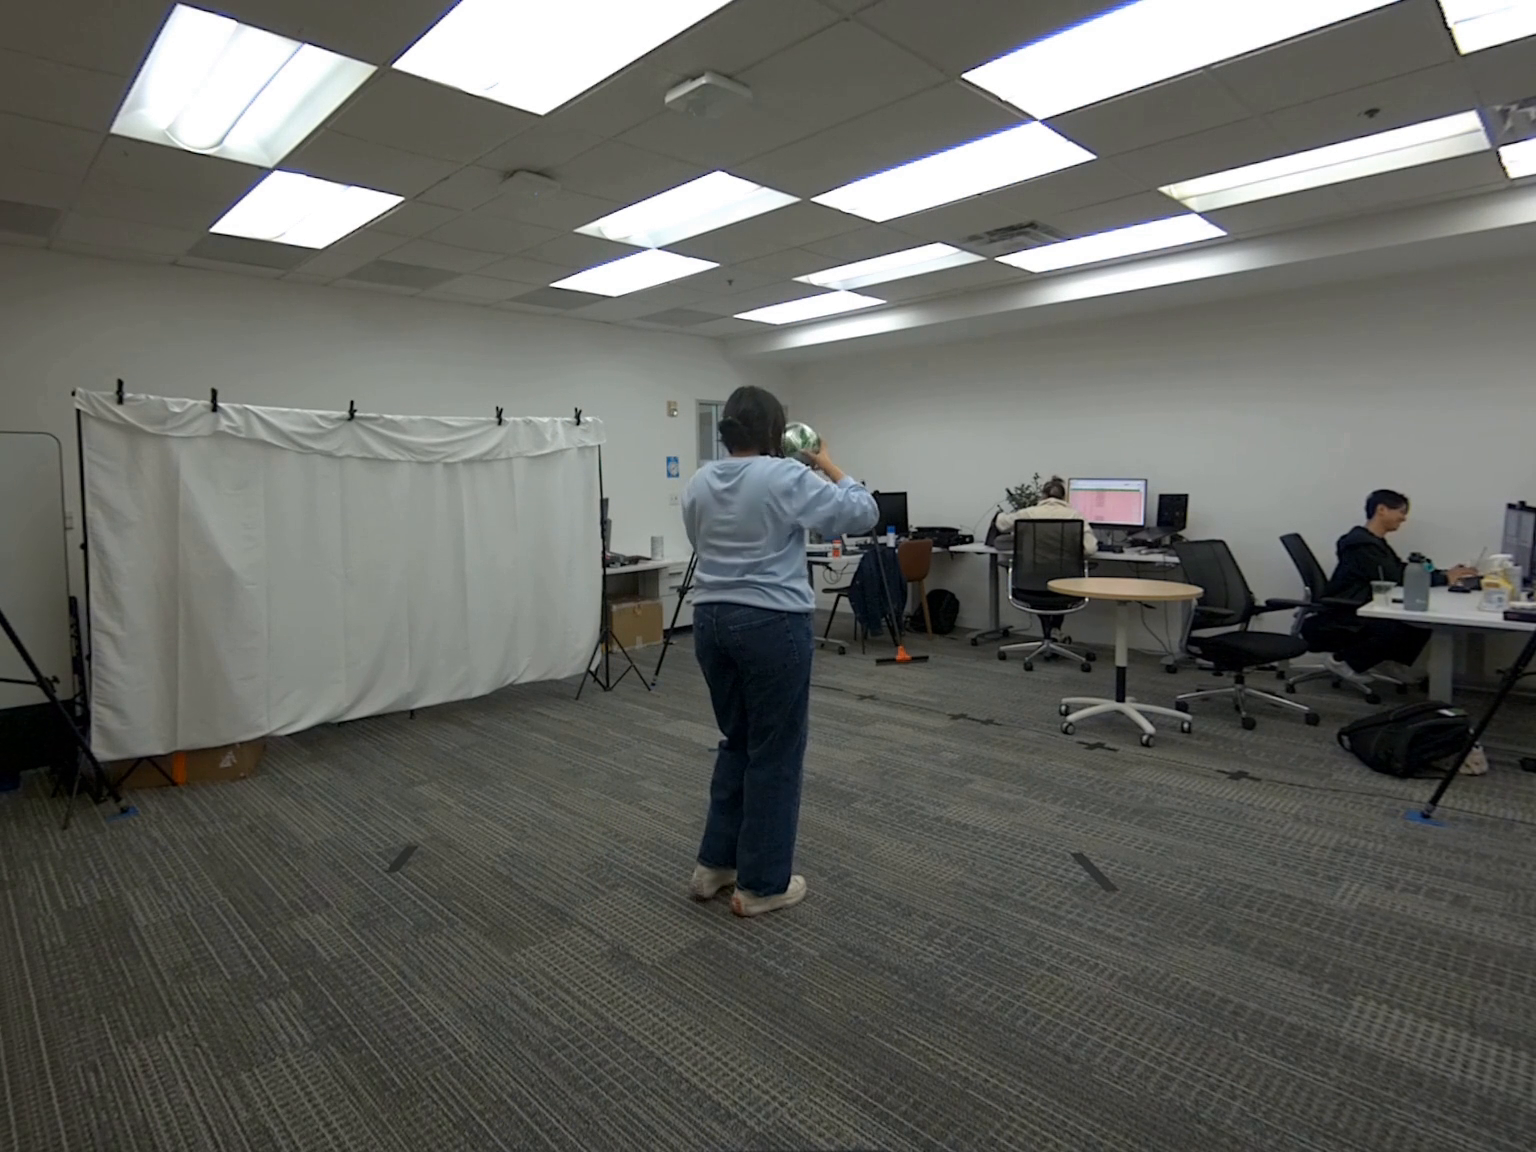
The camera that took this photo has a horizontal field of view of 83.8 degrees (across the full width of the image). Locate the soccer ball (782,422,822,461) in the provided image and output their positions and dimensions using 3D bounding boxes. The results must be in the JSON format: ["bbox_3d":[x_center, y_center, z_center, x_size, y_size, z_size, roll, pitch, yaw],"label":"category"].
[{"bbox_3d":[0.097,-0.447,3.028,0.187,0.187,0.188,-1,5,-2],"label":"soccer ball"}]
